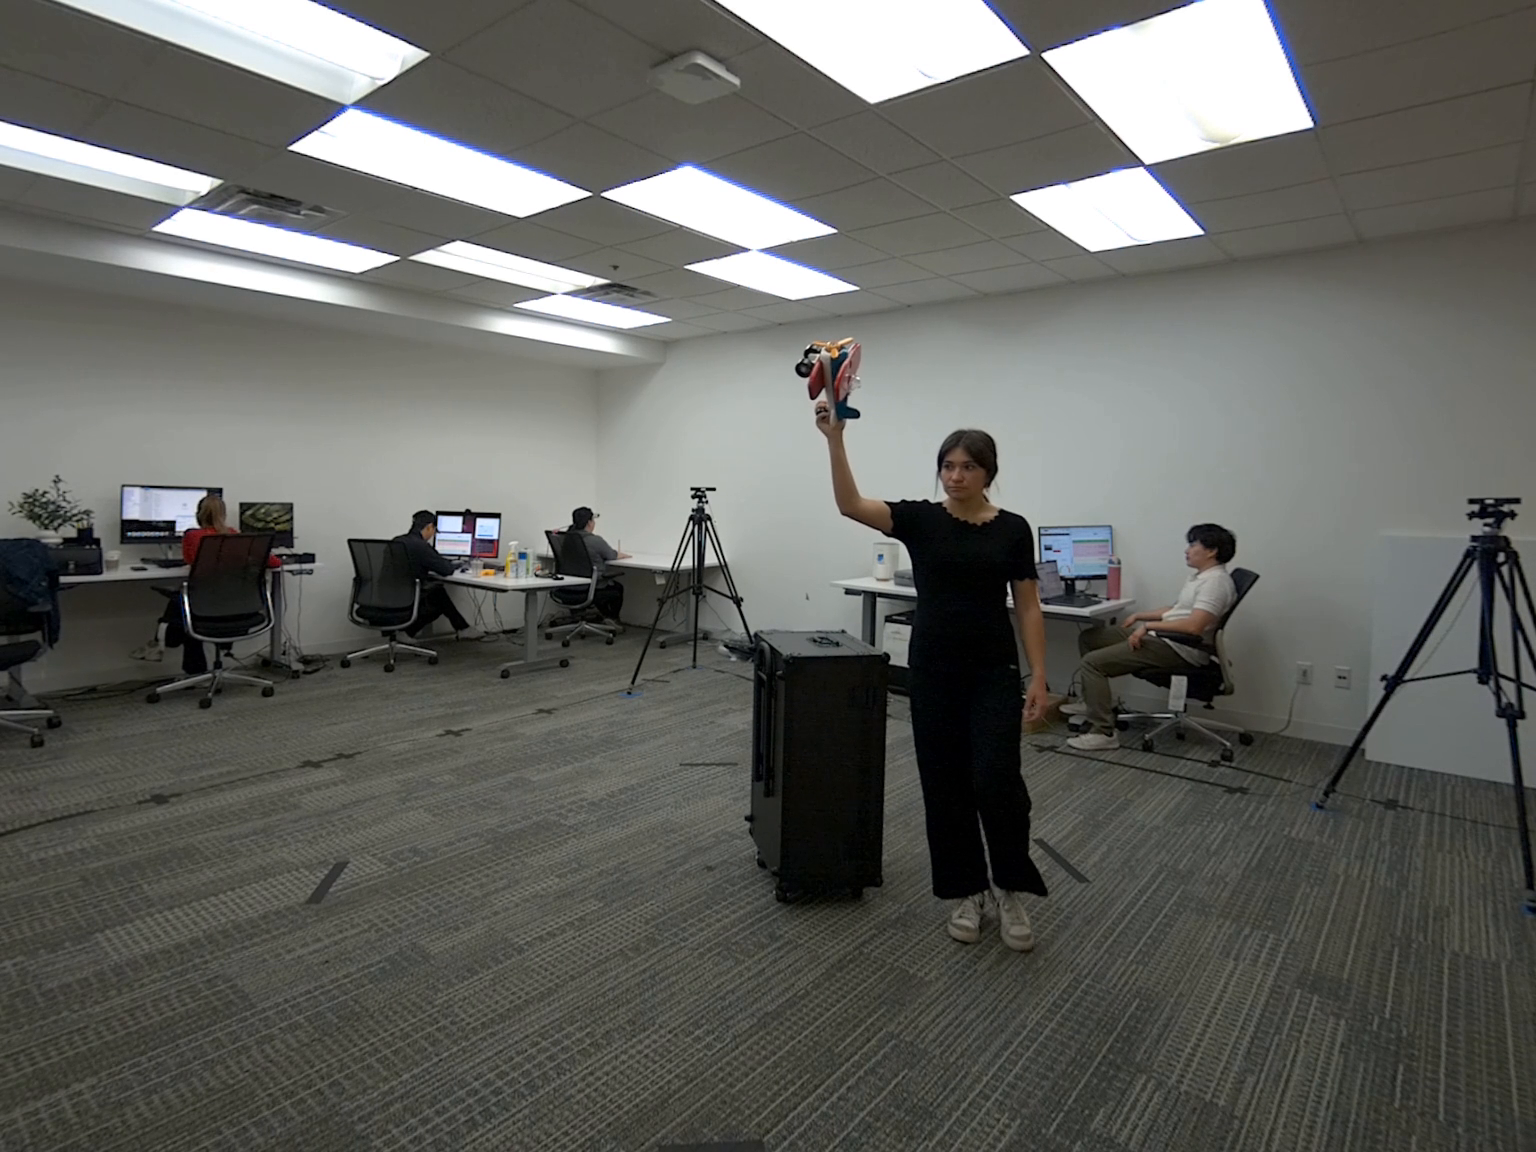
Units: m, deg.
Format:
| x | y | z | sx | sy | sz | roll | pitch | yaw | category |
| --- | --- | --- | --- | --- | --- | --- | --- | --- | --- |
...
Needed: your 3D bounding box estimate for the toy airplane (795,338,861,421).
| x | y | z | sx | sy | sz | roll | pitch | yaw | category |
| --- | --- | --- | --- | --- | --- | --- | --- | --- | --- |
| 0.190 | -0.599 | 2.585 | 0.160 | 0.255 | 0.248 | -3 | -23 | 30 | toy airplane |
